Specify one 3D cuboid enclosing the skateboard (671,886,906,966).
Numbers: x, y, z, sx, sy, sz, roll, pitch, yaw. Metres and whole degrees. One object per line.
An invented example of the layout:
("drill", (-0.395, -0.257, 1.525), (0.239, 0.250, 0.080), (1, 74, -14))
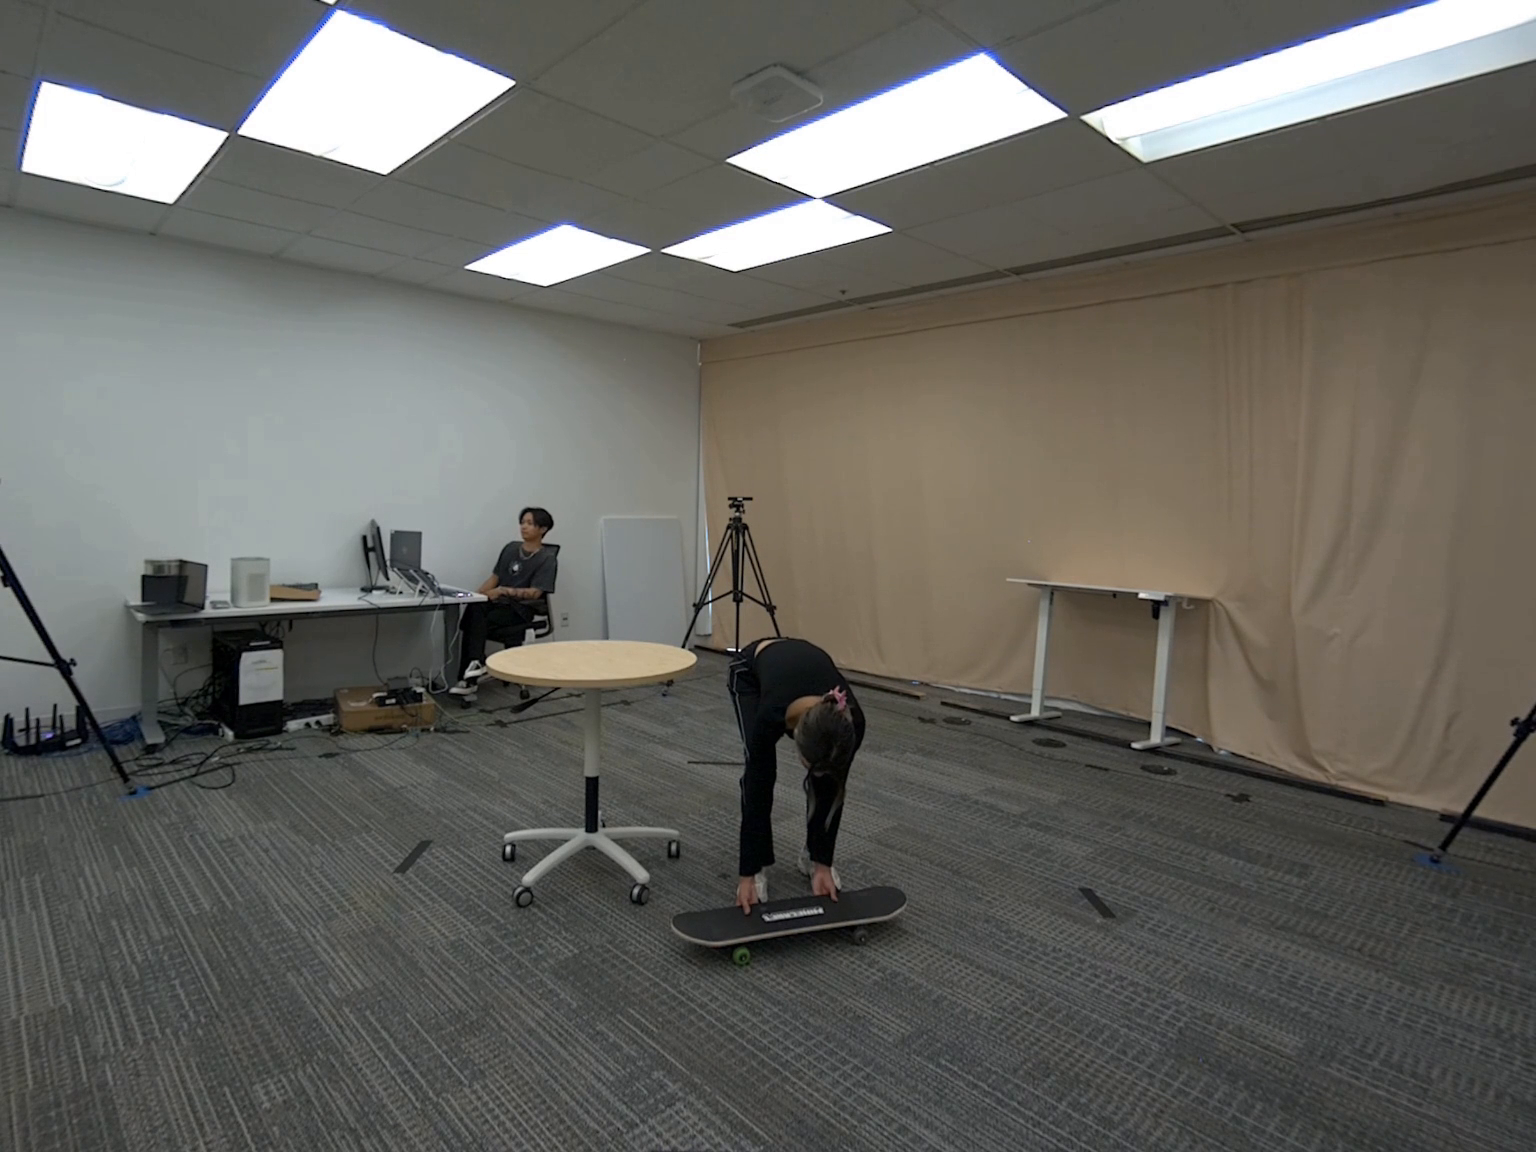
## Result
("skateboard", (0.071, 1.090, 2.656), (0.774, 0.110, 0.197), (0, 4, -19))
